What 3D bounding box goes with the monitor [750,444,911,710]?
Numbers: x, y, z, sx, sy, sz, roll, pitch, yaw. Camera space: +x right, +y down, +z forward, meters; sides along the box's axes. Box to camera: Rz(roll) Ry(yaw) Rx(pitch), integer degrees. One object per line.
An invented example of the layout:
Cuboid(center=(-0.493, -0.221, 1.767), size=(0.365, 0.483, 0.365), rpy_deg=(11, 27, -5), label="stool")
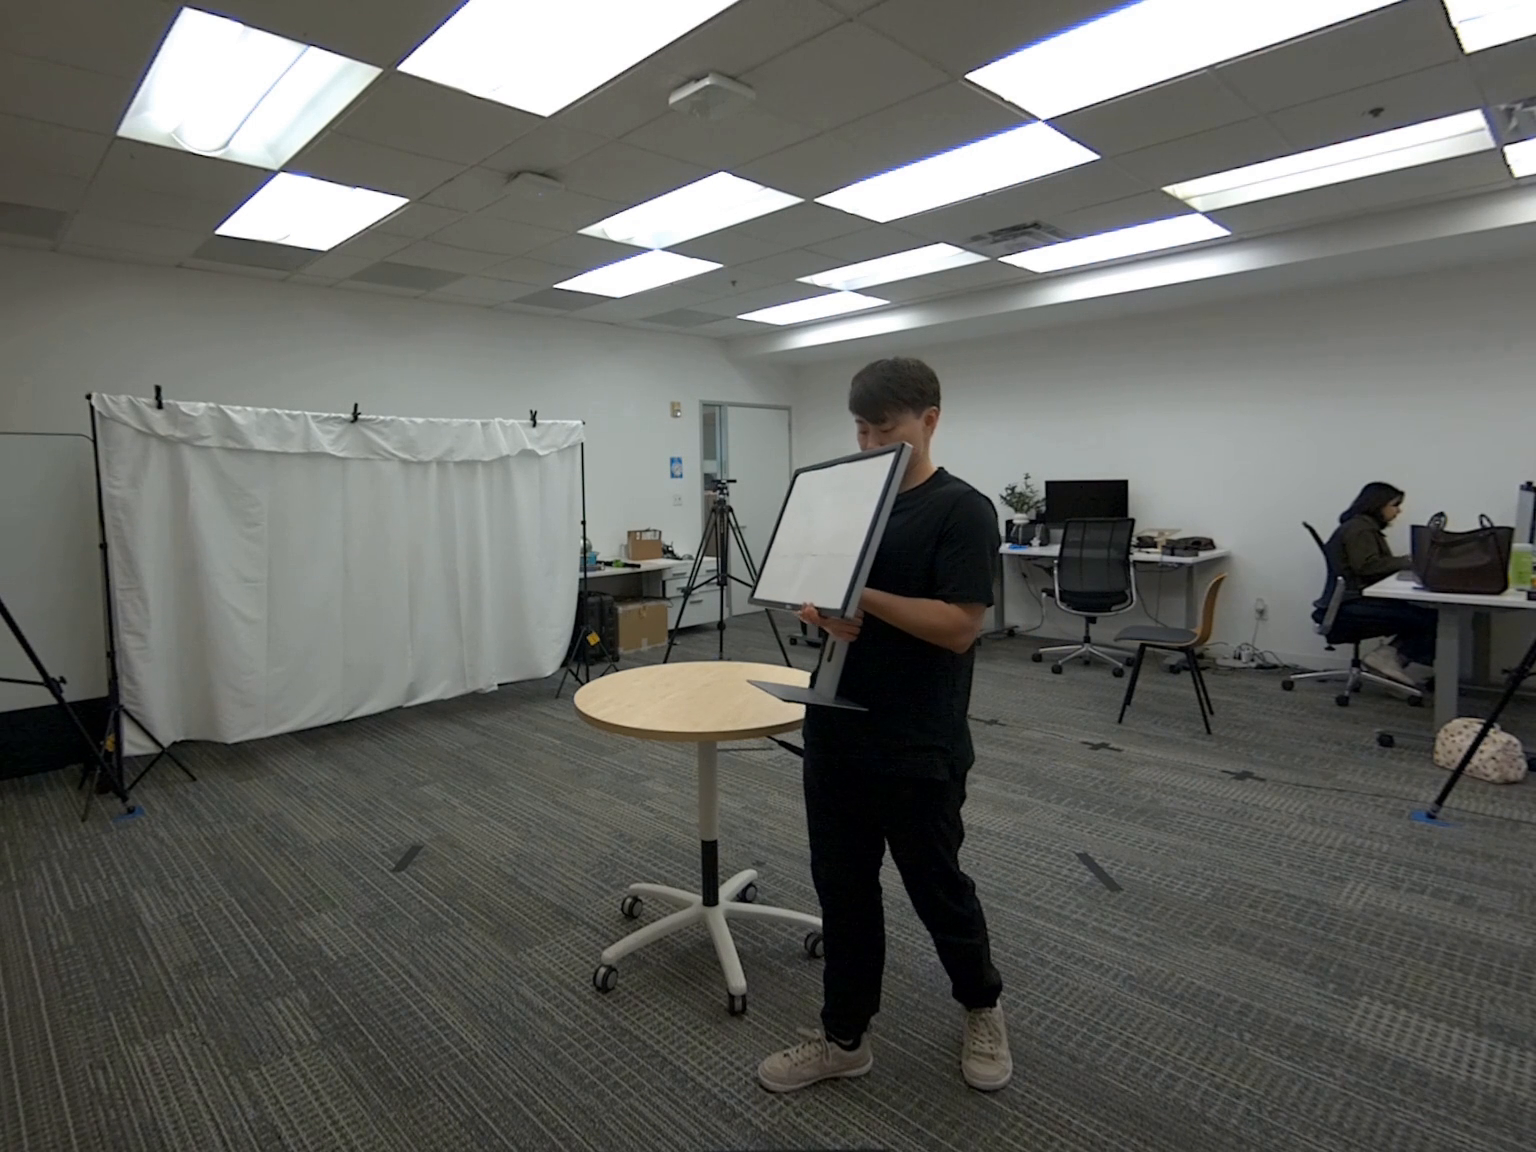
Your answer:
Cuboid(center=(0.143, 0.006, 1.871), size=(0.183, 0.524, 0.549), rpy_deg=(9, -4, -22), label="monitor")
